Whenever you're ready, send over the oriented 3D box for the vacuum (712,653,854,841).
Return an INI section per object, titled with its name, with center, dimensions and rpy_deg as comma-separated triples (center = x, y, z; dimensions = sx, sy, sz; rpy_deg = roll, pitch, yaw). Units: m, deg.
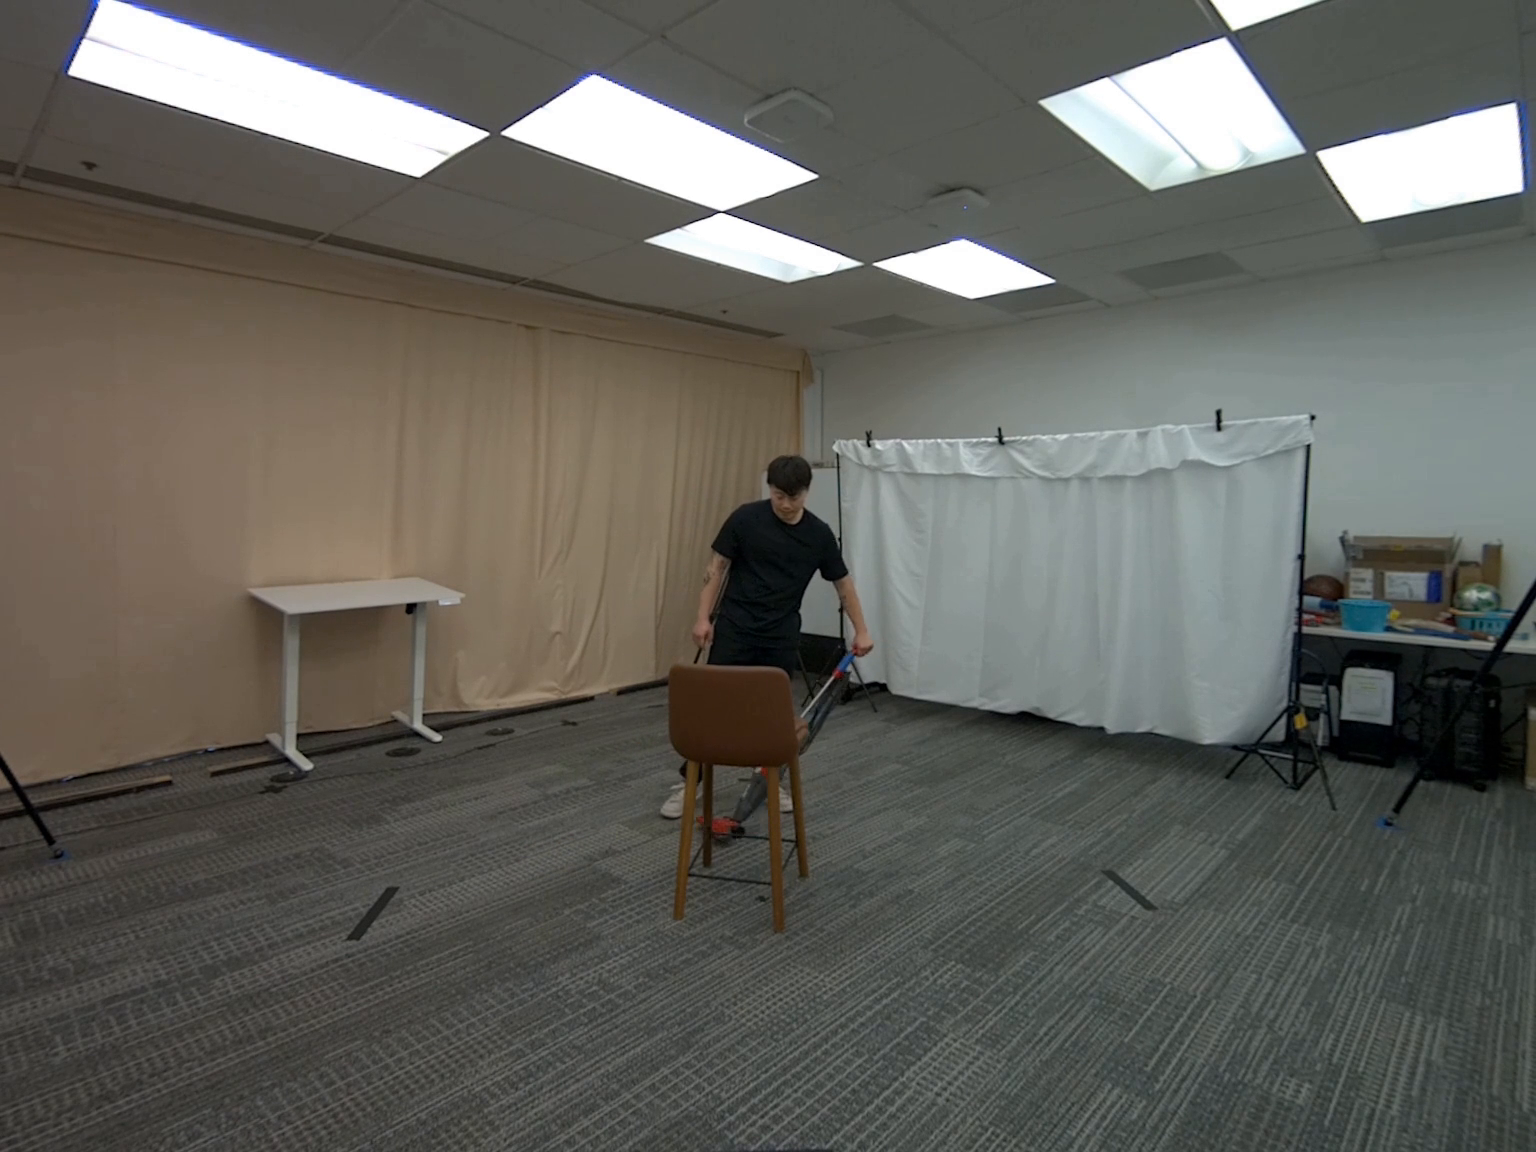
[vacuum]
center = 0.137, 0.693, 3.702
dimensions = 0.140, 1.045, 0.260
rpy_deg = 48, -18, -23
